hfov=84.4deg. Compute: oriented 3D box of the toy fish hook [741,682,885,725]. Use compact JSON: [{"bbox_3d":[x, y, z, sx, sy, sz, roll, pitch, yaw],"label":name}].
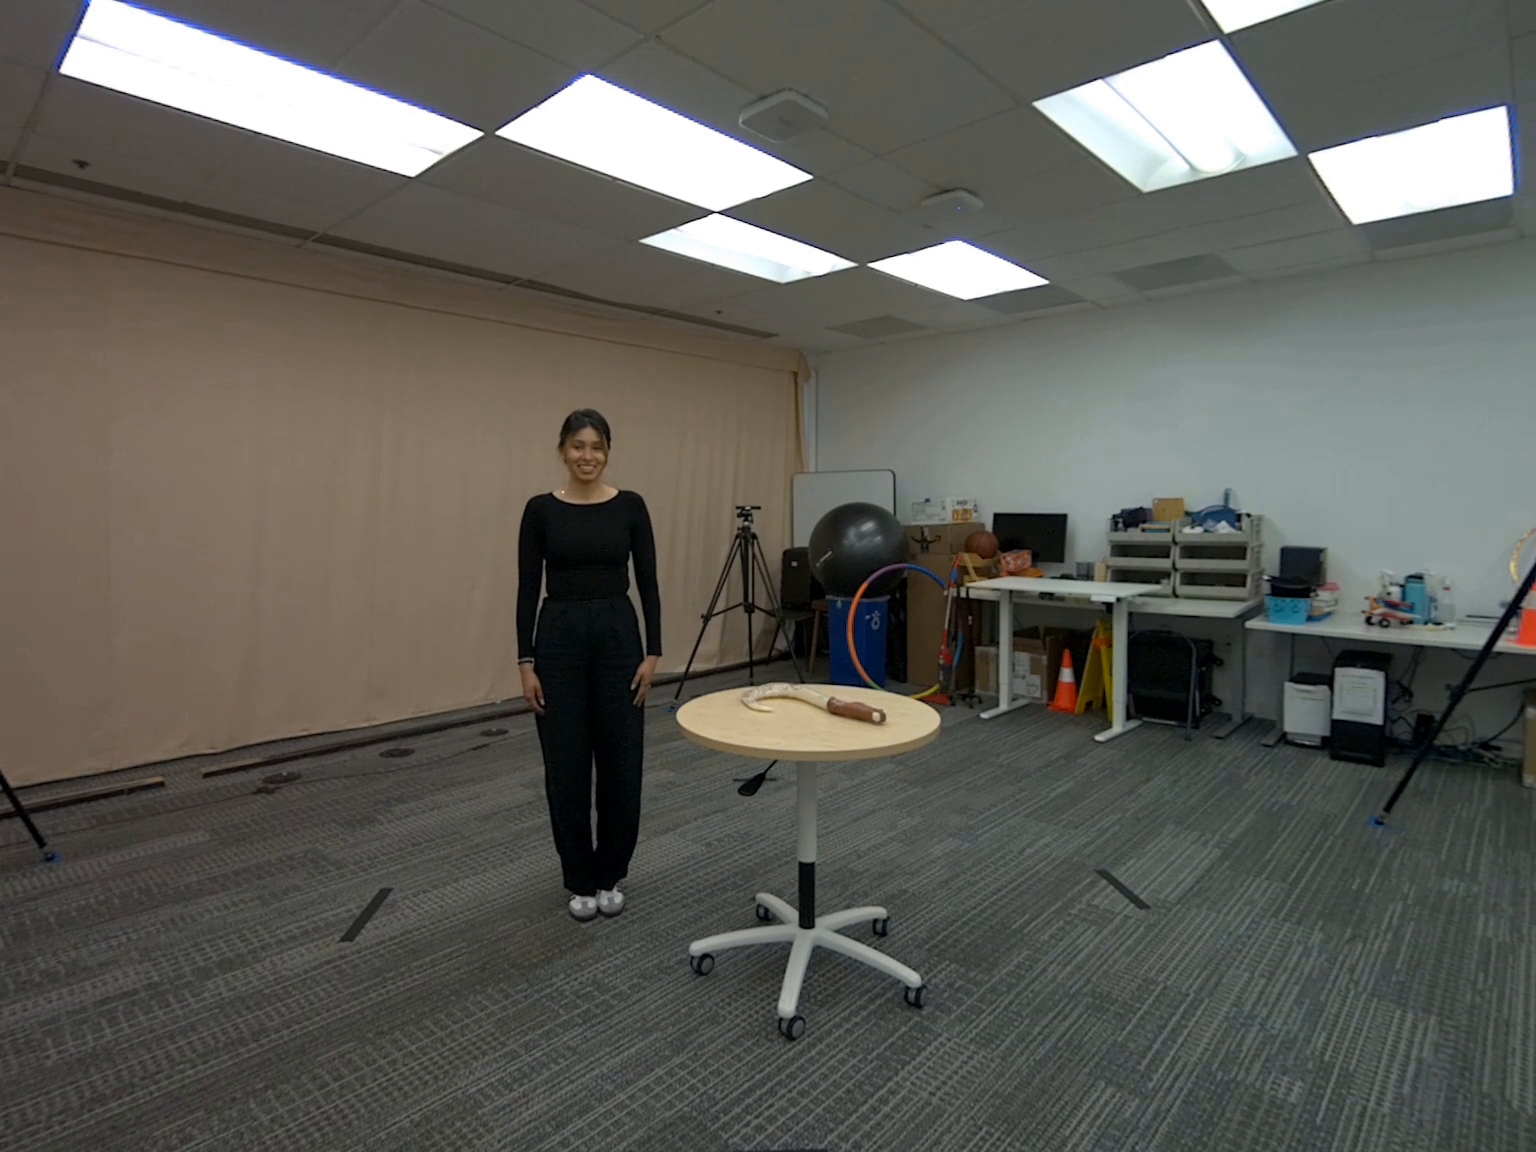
[{"bbox_3d":[0.121,0.390,2.478,0.218,0.048,0.523,-13,11,-39],"label":"toy fish hook"}]
